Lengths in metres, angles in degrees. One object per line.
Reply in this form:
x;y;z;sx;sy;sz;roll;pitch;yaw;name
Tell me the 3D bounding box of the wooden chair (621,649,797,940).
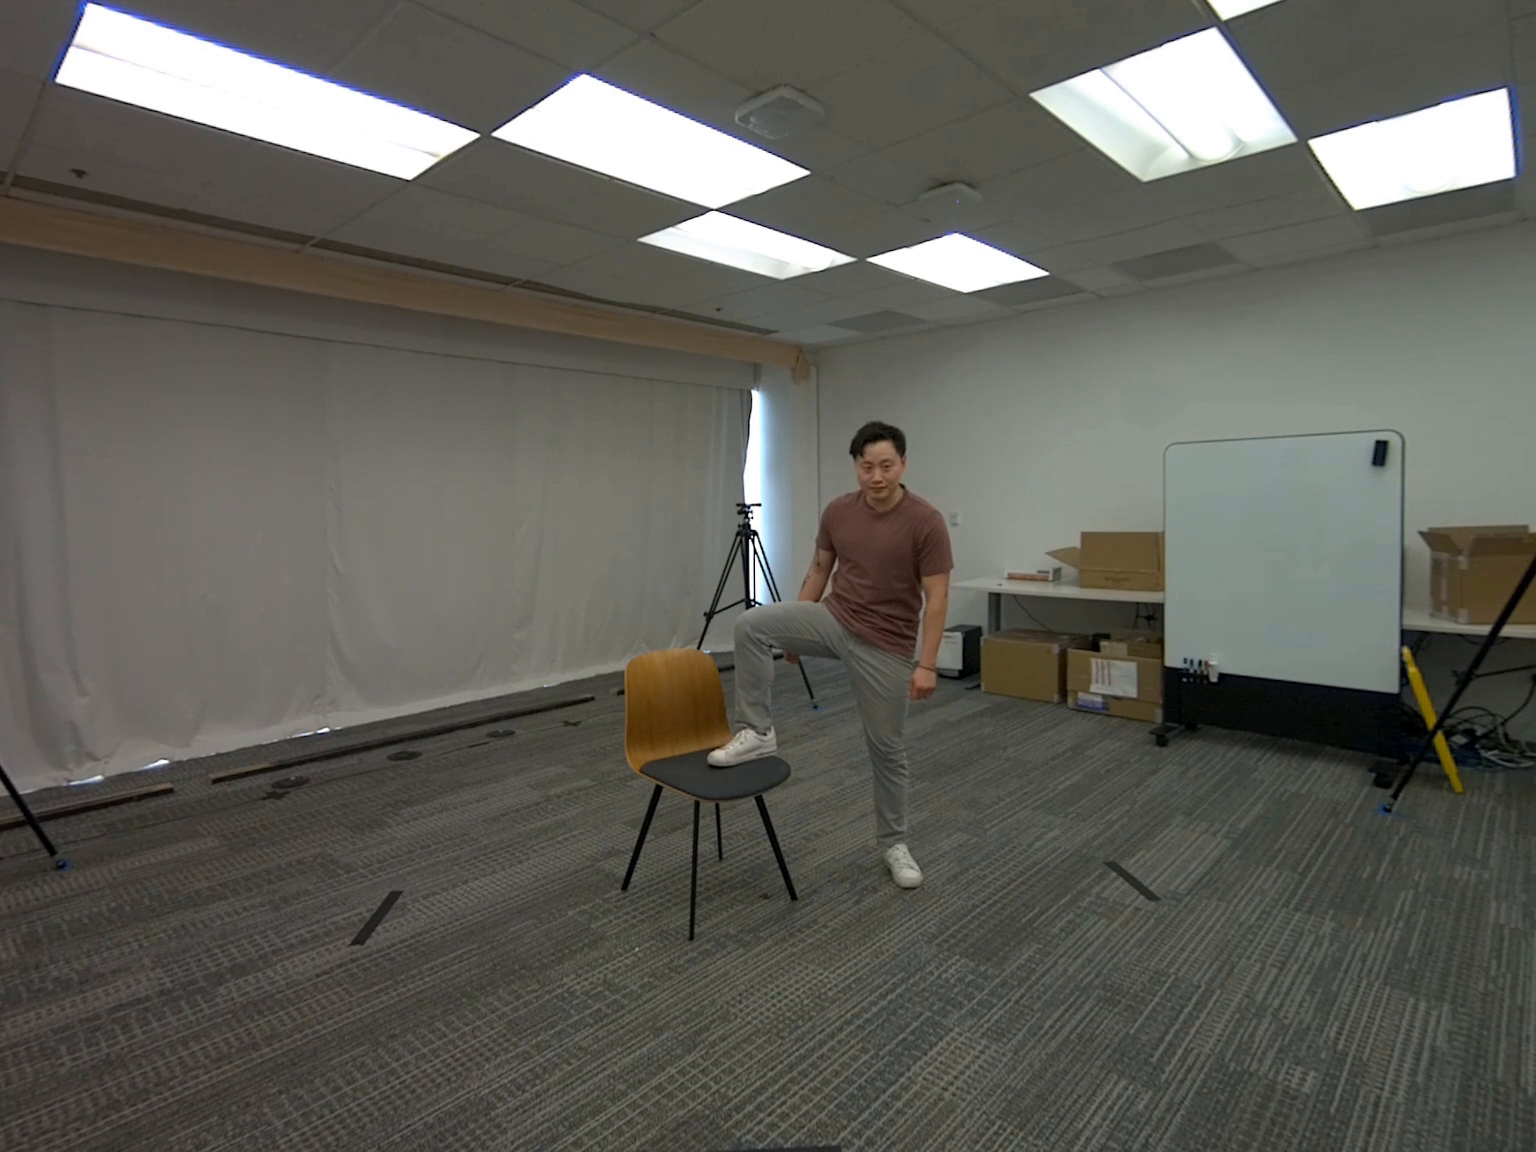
-0.214;0.718;2.963;0.464;0.877;0.539;-4;0;-38;wooden chair
